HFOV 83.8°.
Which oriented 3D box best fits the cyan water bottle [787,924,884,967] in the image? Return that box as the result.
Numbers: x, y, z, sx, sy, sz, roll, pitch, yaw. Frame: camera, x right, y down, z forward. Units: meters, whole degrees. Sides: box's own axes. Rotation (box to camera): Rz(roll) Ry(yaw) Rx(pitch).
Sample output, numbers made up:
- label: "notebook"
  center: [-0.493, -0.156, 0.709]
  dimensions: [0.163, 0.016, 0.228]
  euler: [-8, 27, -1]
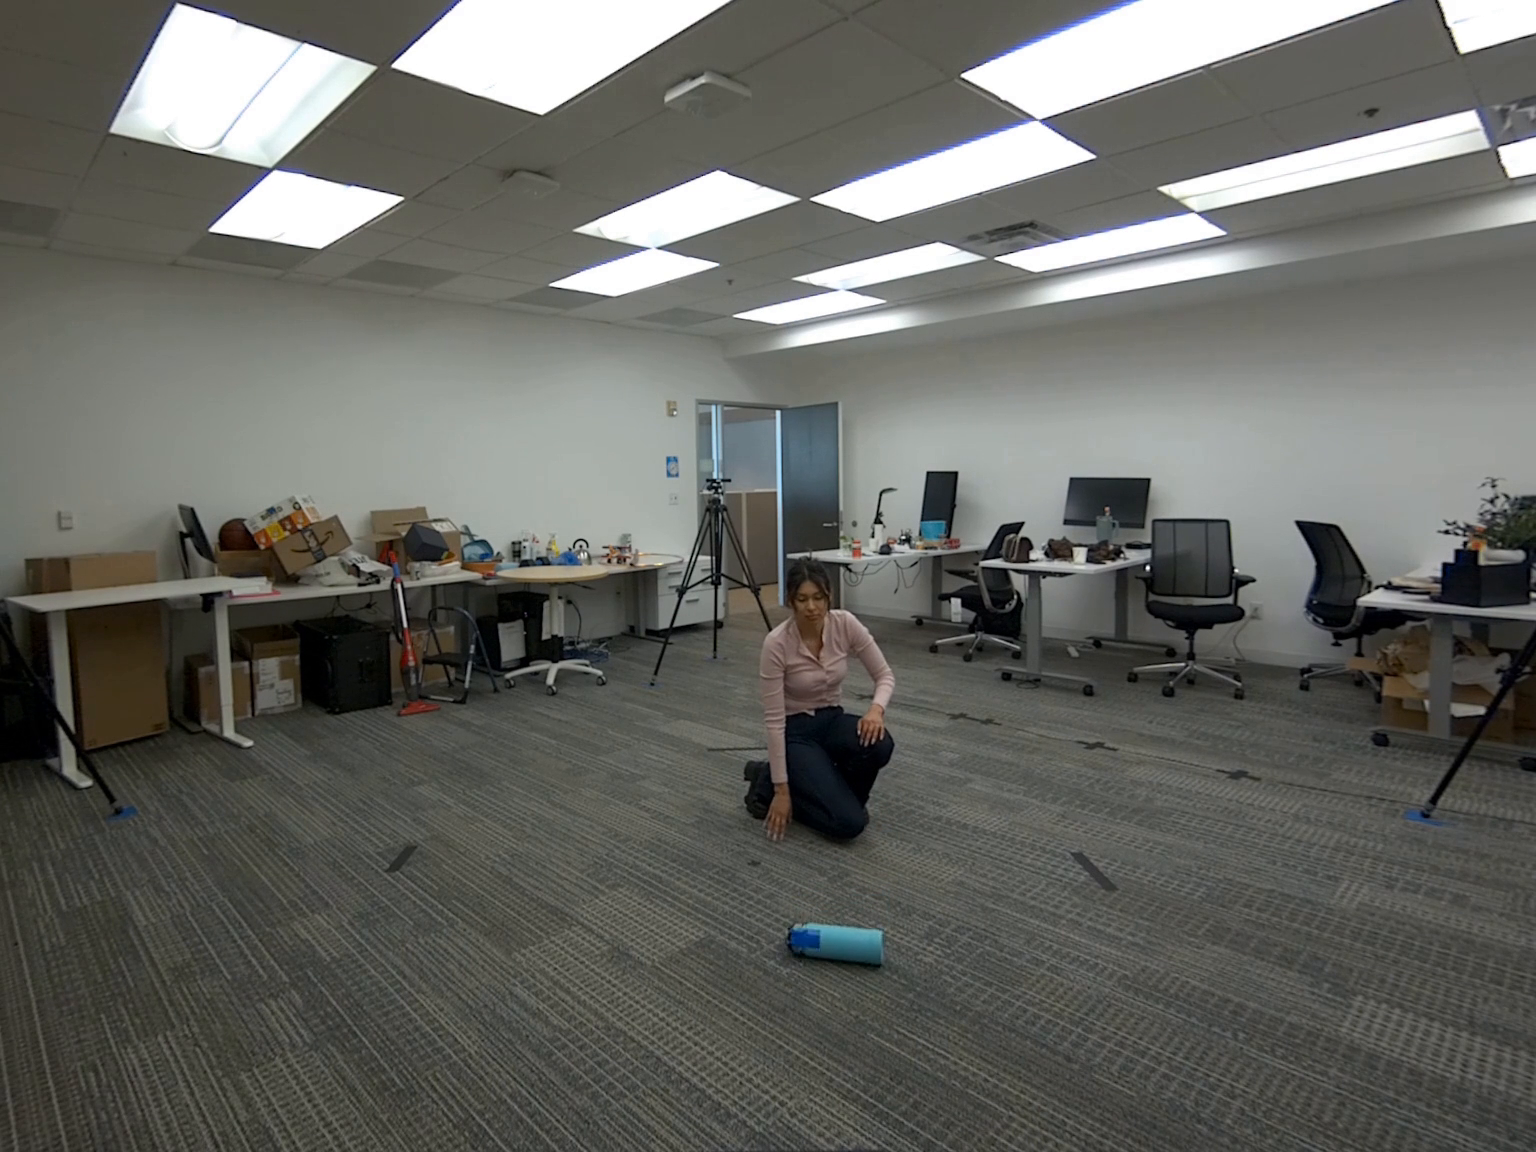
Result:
- label: "cyan water bottle"
  center: [0.198, 1.069, 2.489]
  dimensions: [0.287, 0.092, 0.091]
  euler: [0, 5, 13]
